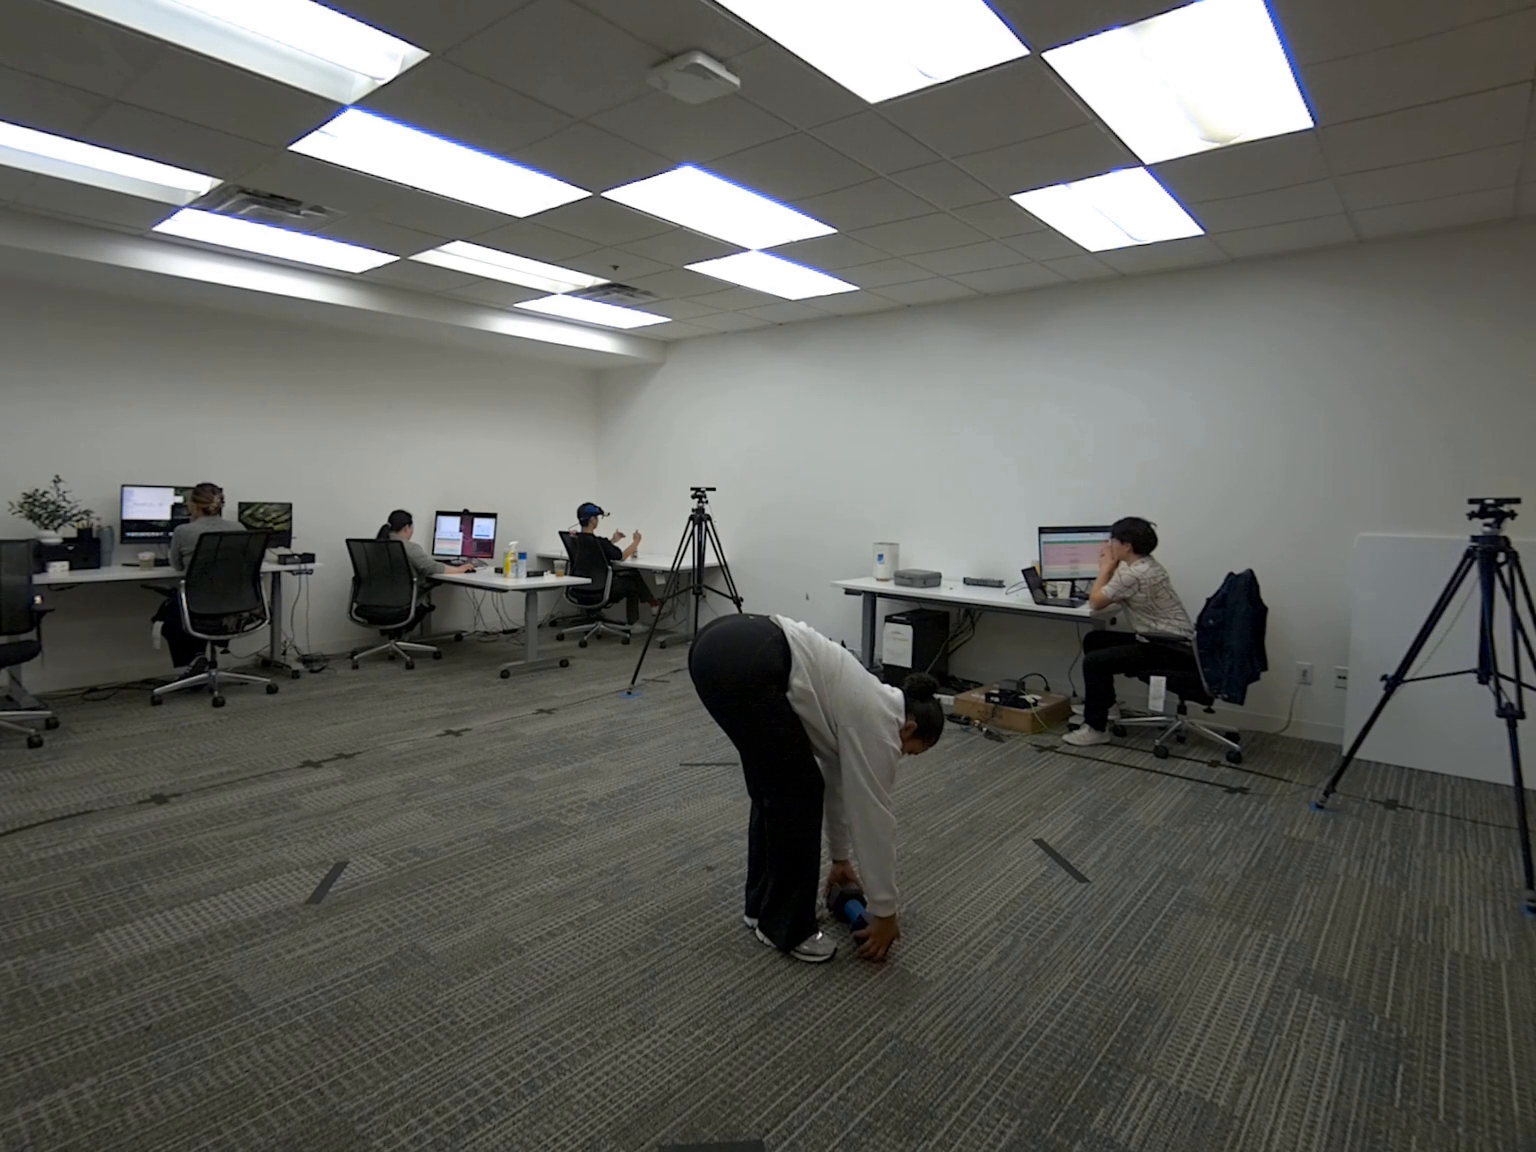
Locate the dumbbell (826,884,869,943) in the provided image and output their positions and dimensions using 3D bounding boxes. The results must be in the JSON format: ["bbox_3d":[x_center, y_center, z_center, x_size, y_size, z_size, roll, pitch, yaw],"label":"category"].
[{"bbox_3d":[0.270,1.078,2.666,0.106,0.123,0.299,33,-4,-16],"label":"dumbbell"}]
